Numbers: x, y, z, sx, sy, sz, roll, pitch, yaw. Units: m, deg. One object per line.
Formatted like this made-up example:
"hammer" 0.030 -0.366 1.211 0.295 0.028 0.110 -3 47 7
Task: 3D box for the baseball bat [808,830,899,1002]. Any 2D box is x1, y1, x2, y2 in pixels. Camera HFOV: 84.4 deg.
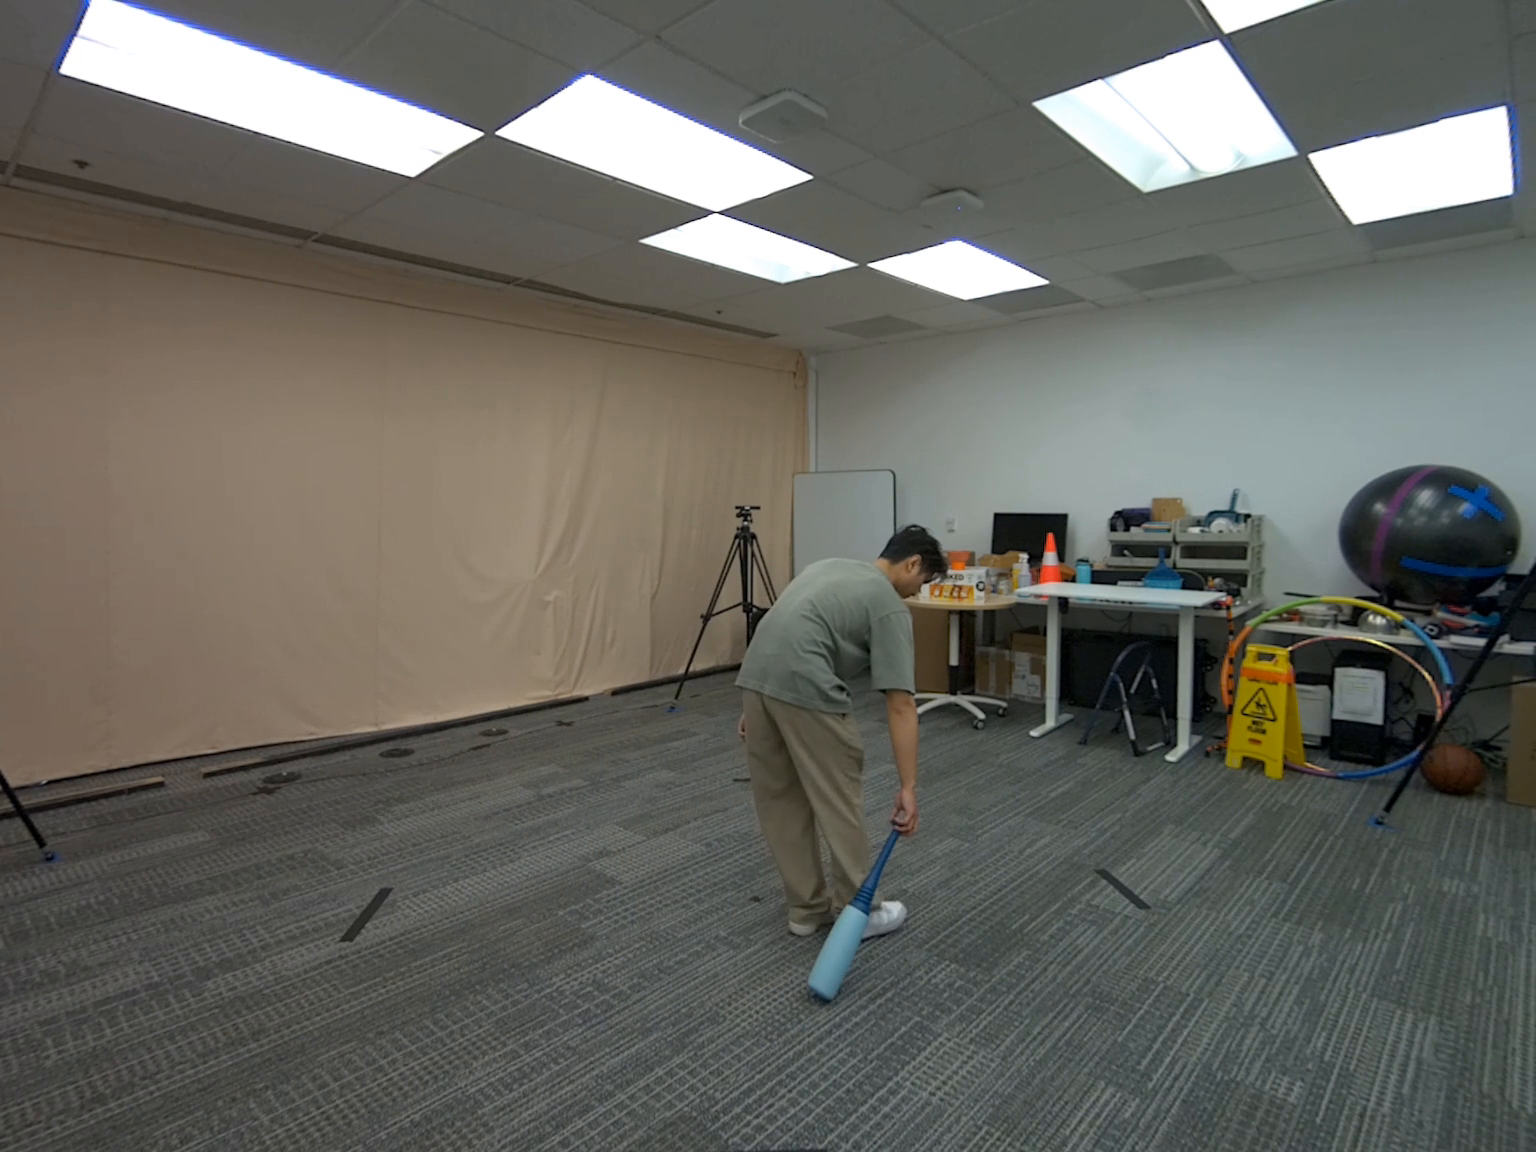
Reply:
"baseball bat" 0.278 0.960 2.463 0.090 0.542 0.088 28 -22 11
